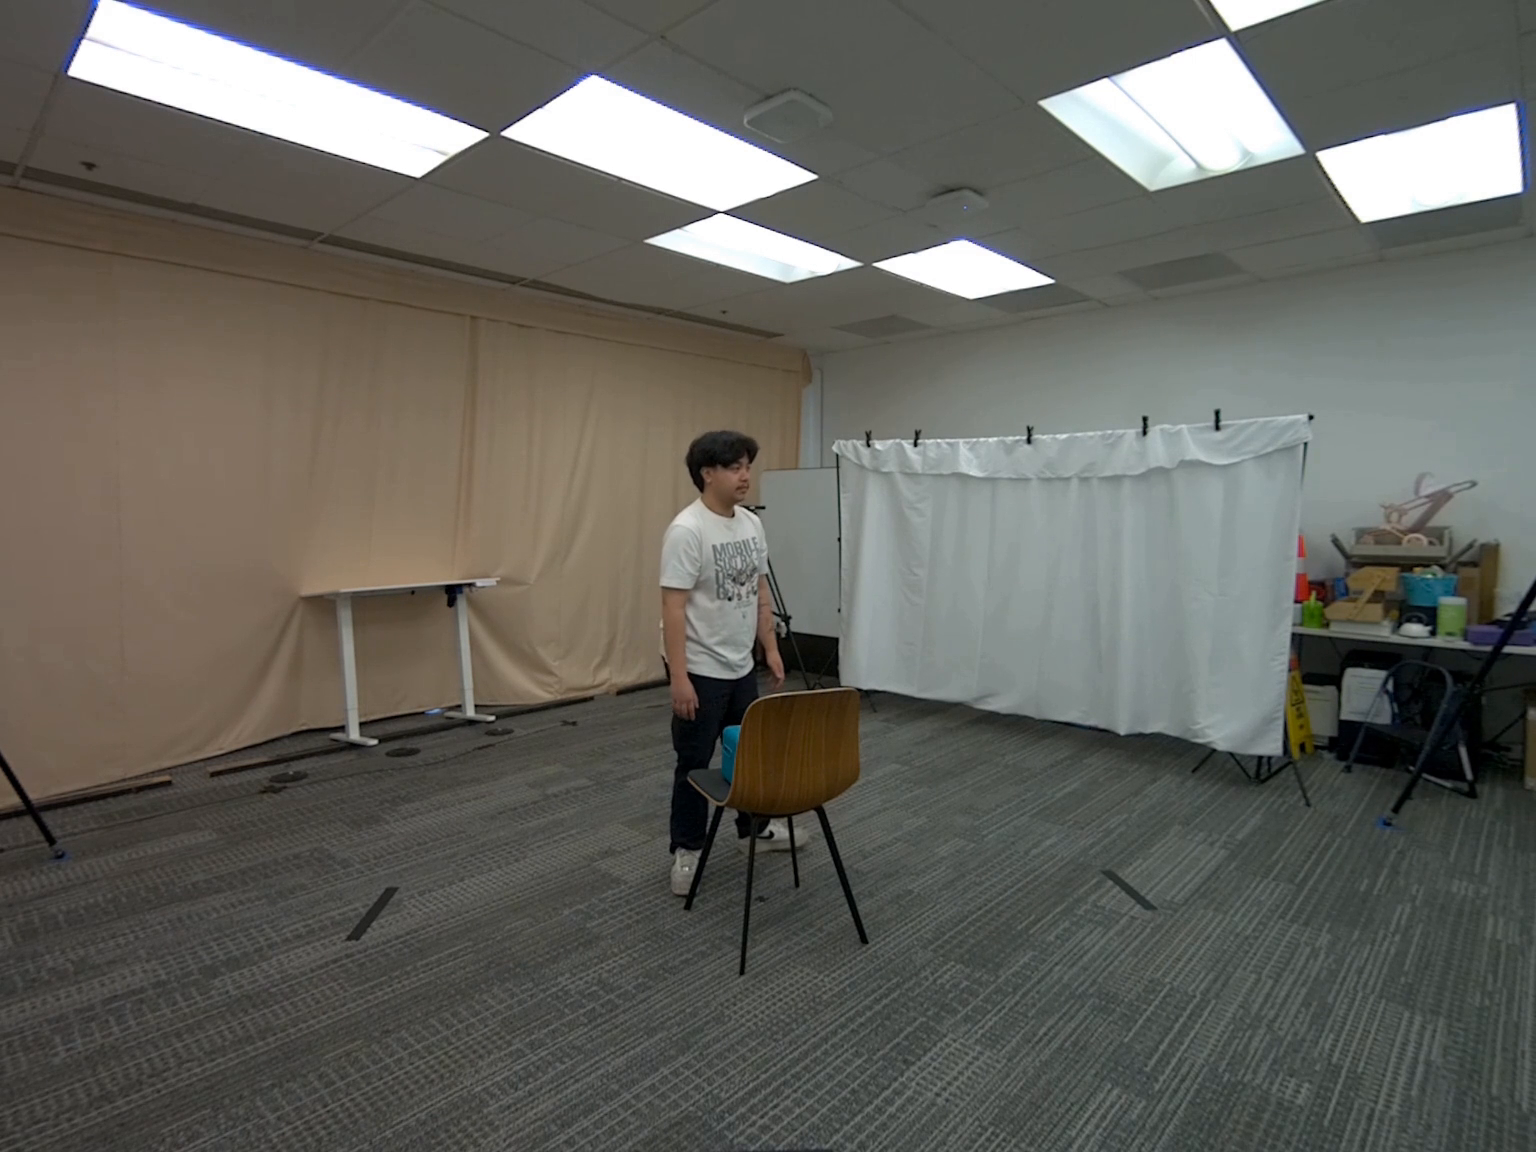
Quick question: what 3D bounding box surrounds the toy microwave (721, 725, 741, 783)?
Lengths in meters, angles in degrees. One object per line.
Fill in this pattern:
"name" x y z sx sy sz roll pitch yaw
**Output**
"toy microwave" 0.001 0.583 2.781 0.280 0.183 0.156 -2 8 -22
